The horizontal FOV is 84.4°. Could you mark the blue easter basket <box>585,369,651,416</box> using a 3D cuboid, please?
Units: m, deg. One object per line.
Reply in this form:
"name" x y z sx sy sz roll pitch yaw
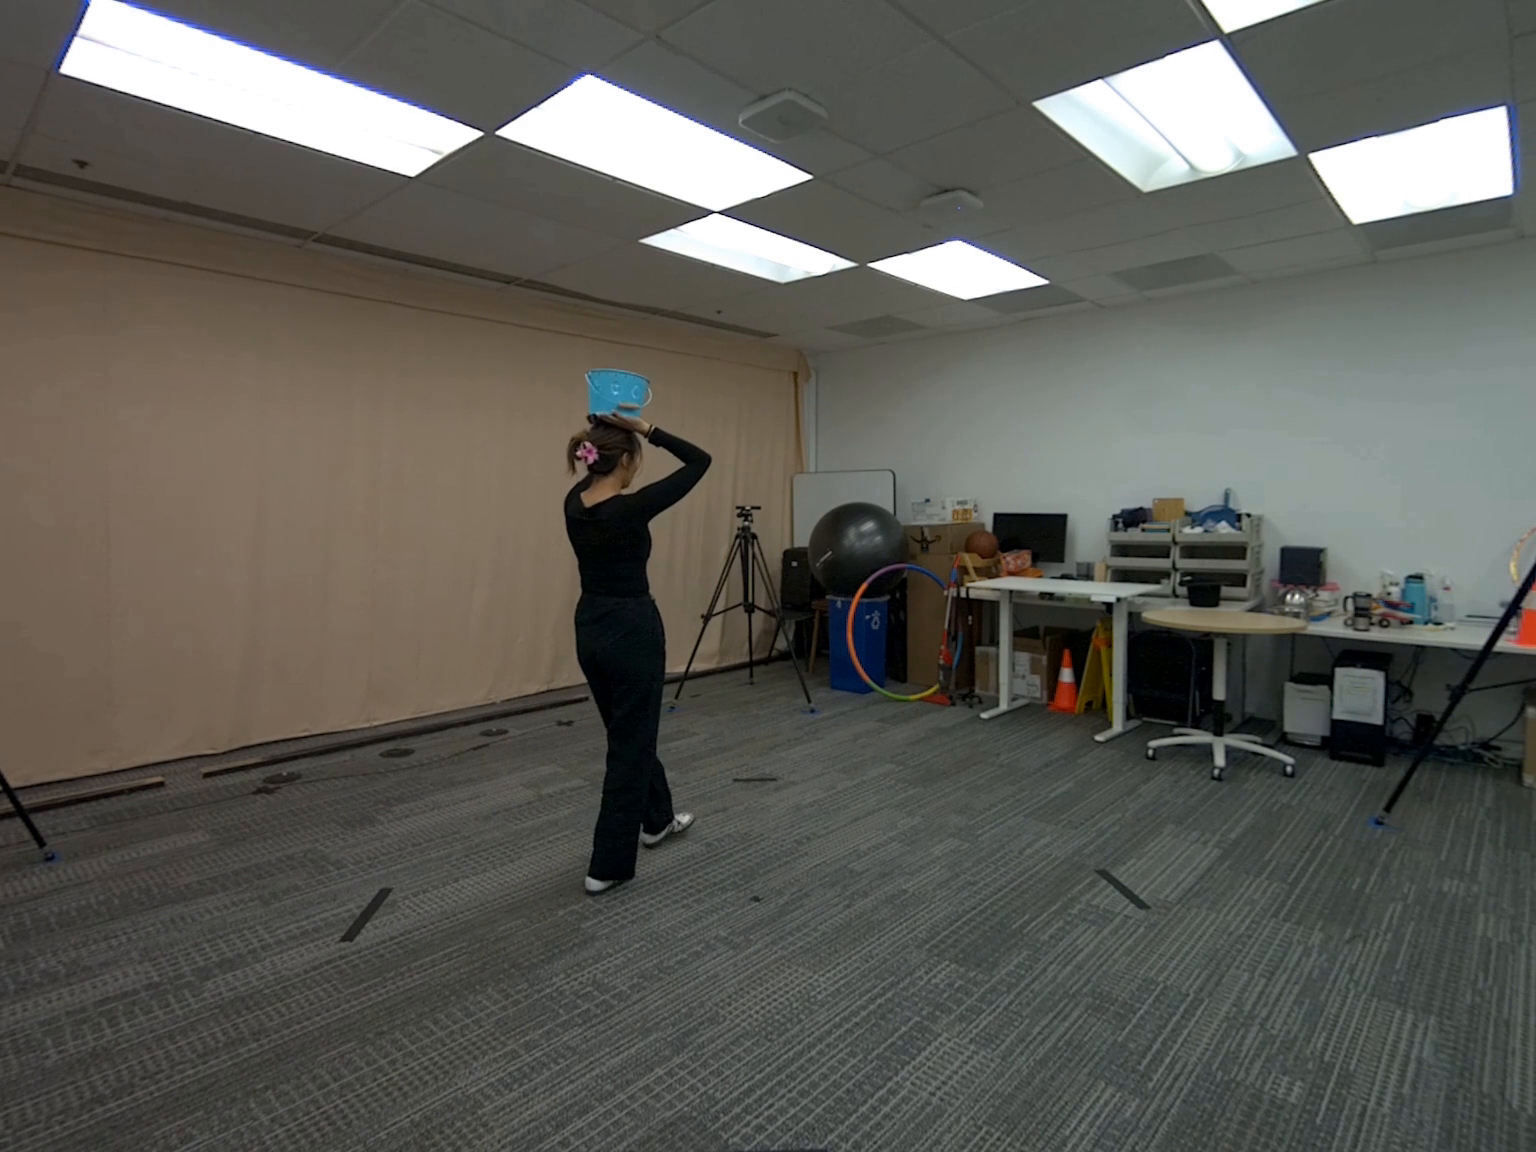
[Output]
"blue easter basket" -0.551 -0.644 3.050 0.243 0.156 0.243 4 -1 -2
